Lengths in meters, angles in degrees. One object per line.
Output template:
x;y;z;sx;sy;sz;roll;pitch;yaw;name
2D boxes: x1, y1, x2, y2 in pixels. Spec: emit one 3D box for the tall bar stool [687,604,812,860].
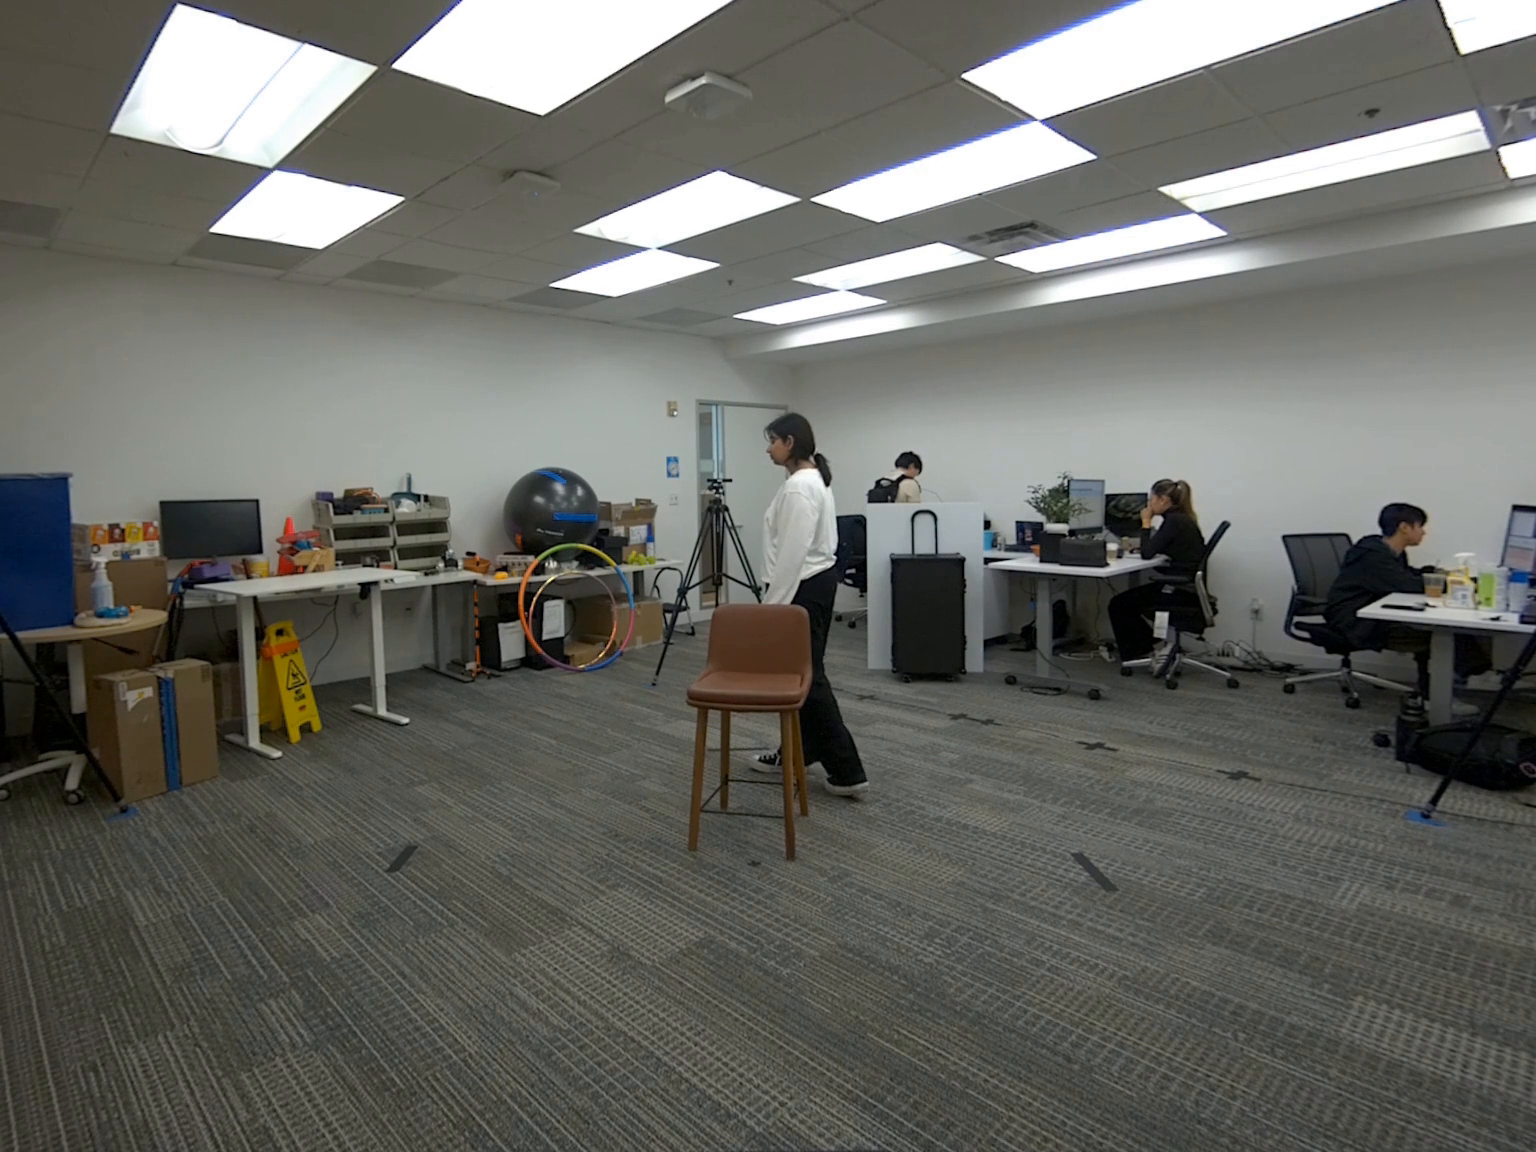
-0.063;0.577;3.375;0.463;0.888;0.462;0;2;14;tall bar stool
